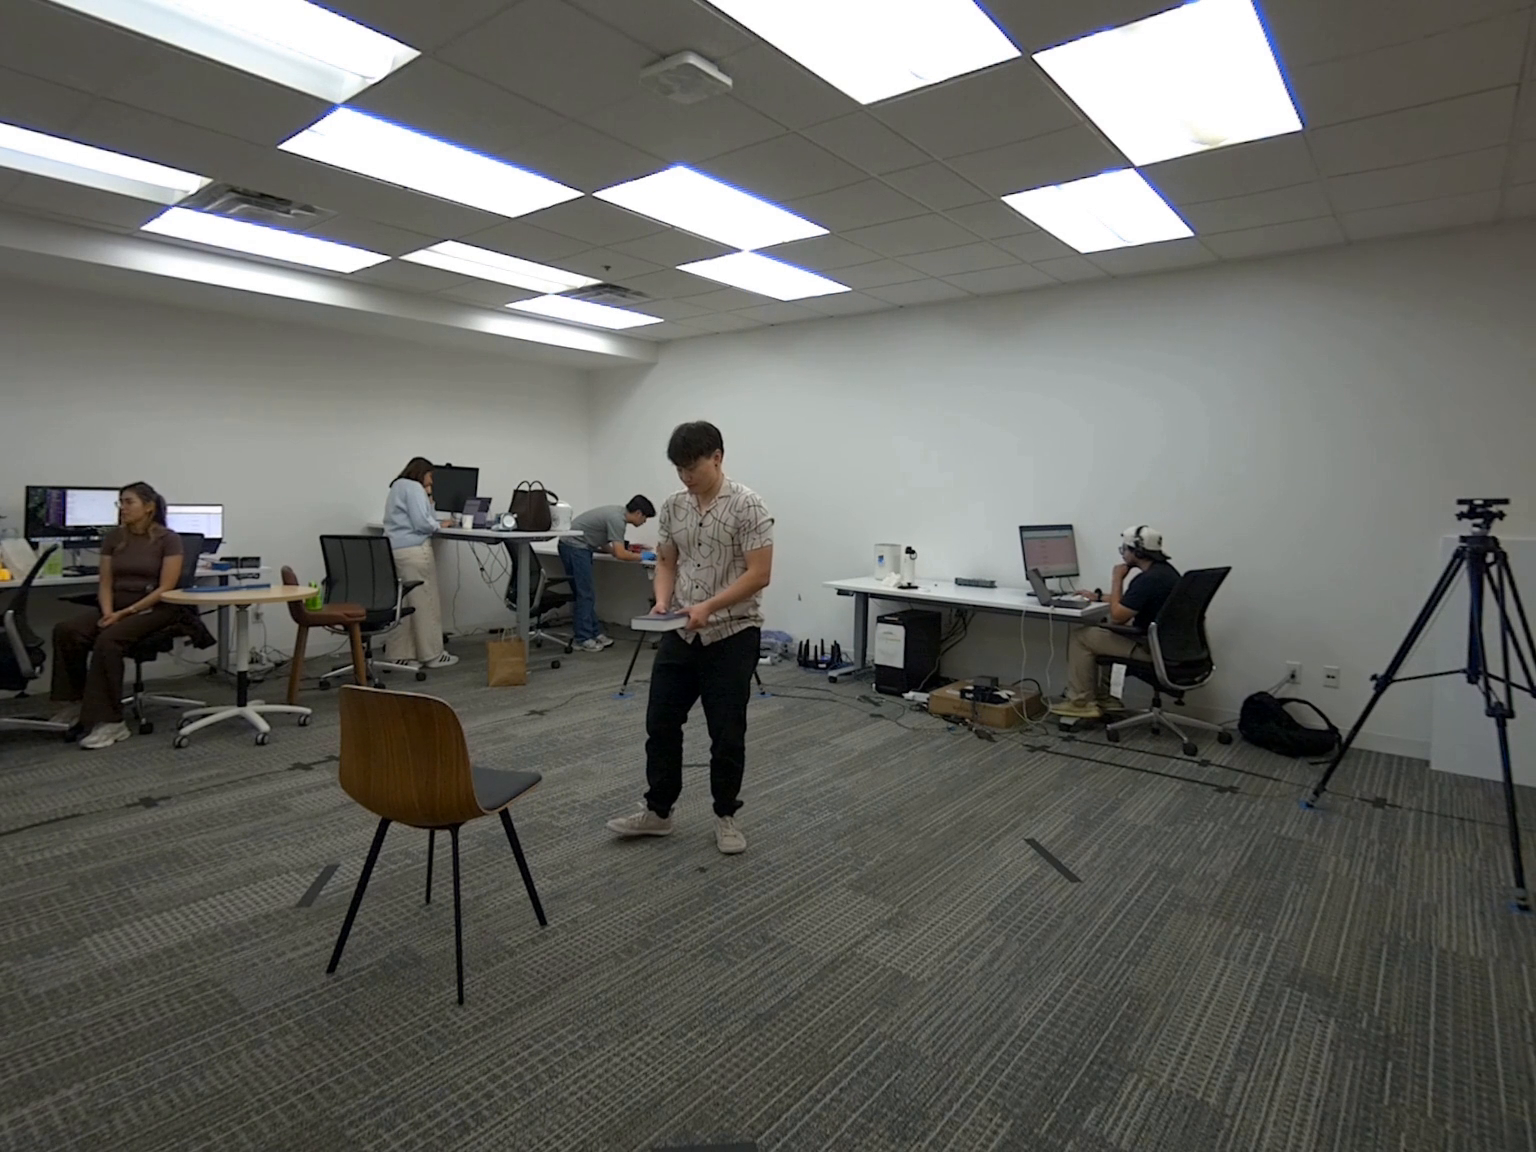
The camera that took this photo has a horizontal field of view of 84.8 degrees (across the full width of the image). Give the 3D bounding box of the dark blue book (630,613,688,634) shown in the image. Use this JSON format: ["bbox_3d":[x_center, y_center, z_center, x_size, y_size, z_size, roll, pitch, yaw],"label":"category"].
[{"bbox_3d":[-0.404,0.165,3.127,0.168,0.045,0.238,0,2,32],"label":"dark blue book"}]
